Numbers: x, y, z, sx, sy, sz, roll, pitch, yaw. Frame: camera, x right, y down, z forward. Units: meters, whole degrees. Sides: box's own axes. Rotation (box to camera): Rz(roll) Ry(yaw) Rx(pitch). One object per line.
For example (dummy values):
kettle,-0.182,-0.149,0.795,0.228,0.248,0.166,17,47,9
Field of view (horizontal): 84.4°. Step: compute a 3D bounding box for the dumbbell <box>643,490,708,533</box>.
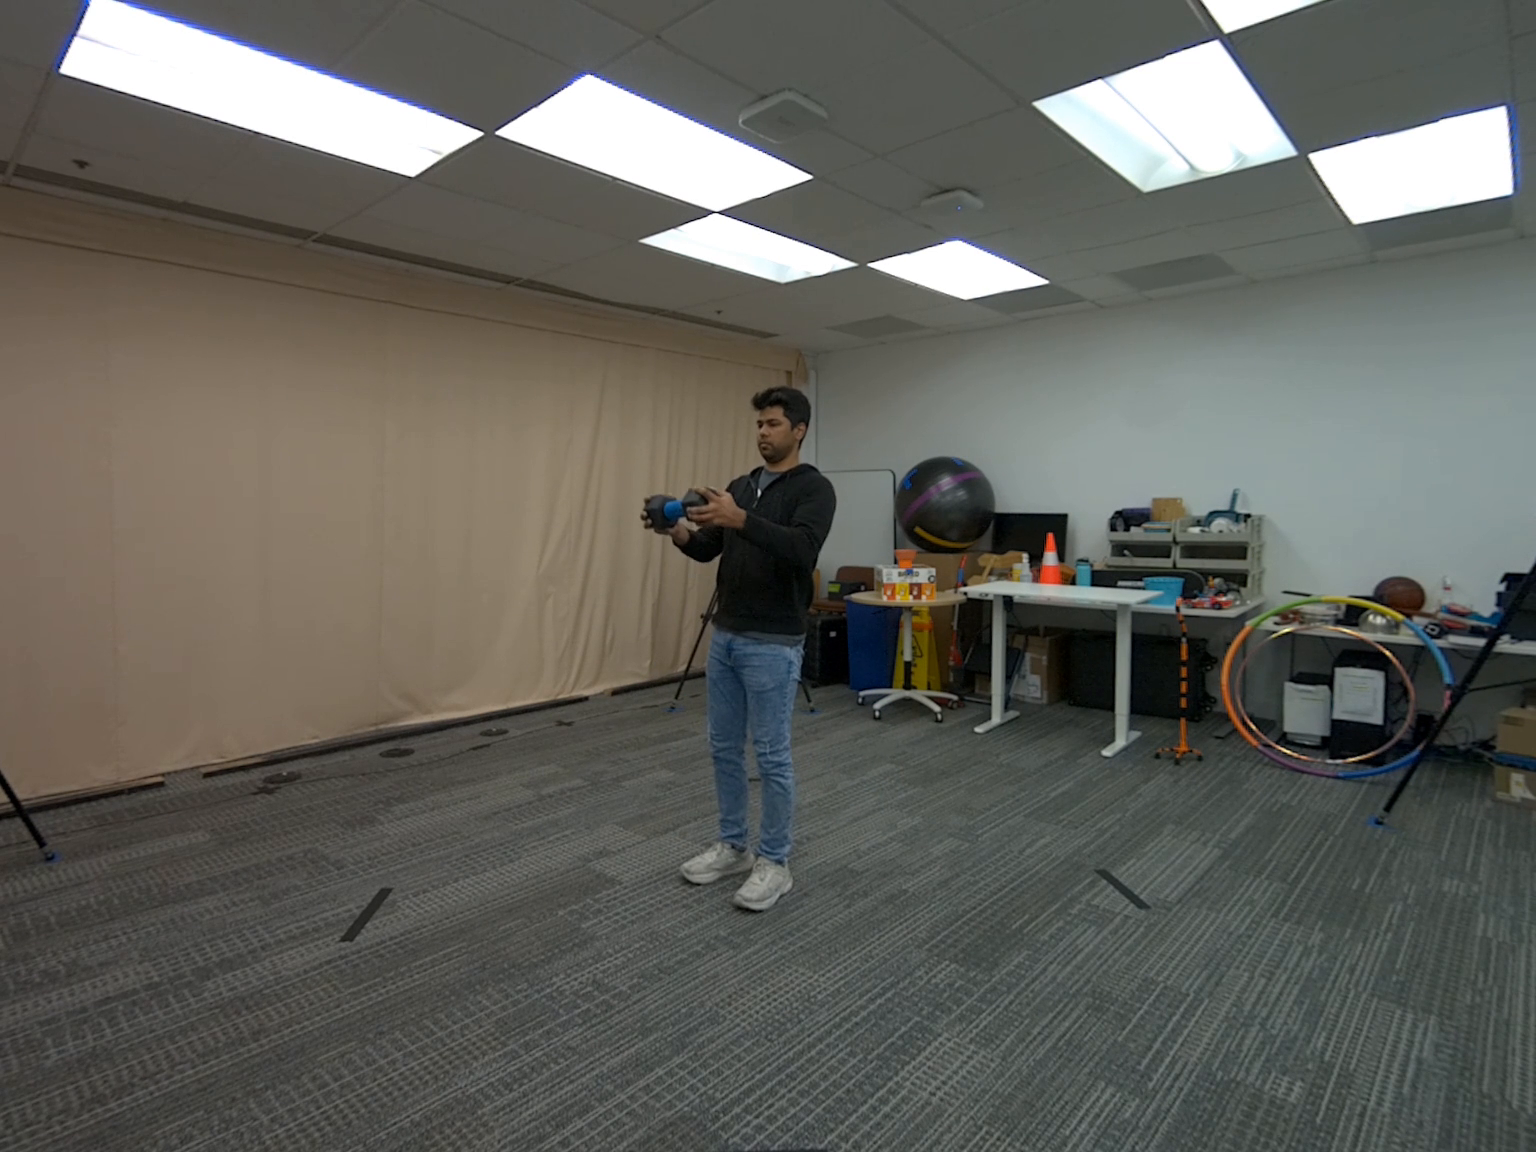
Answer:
dumbbell,-0.272,-0.203,2.772,0.107,0.121,0.302,-29,15,-36
